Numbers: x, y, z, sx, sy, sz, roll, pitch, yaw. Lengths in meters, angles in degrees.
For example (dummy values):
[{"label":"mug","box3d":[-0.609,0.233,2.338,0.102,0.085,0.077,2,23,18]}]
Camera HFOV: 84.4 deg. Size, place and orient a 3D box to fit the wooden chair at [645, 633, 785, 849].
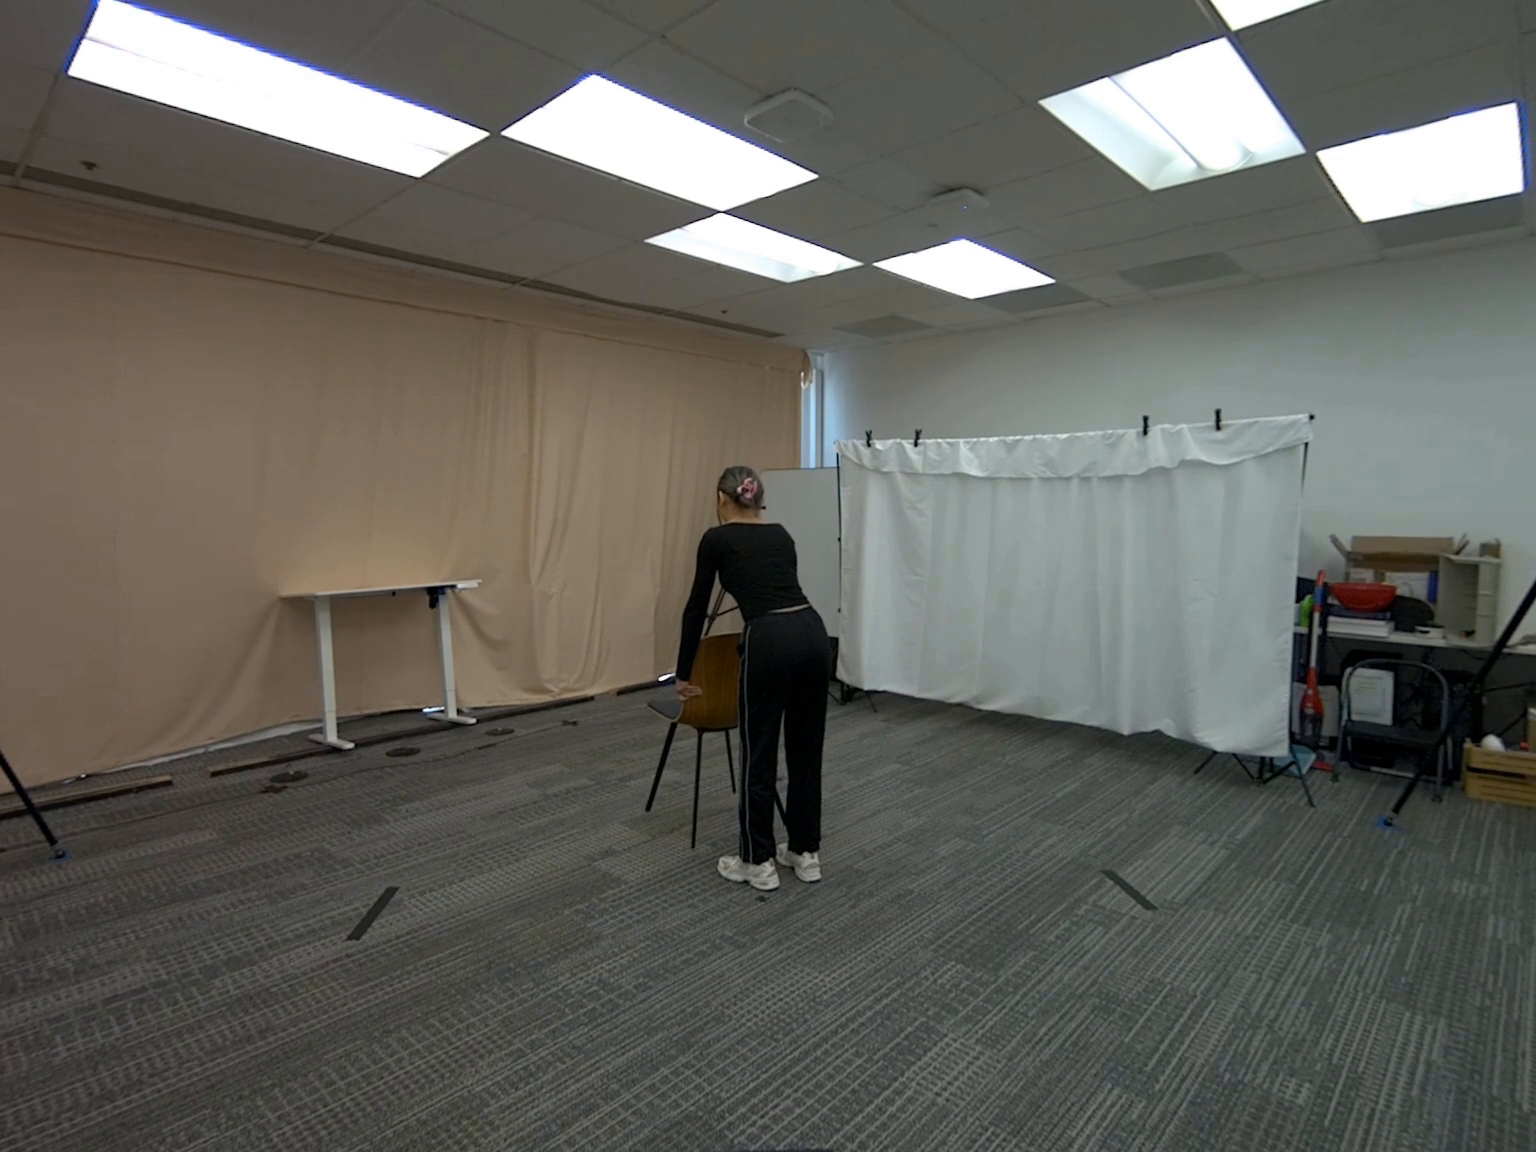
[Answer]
[{"label":"wooden chair","box3d":[-0.230,0.604,3.550,0.466,0.873,0.540,-3,10,-30]}]
